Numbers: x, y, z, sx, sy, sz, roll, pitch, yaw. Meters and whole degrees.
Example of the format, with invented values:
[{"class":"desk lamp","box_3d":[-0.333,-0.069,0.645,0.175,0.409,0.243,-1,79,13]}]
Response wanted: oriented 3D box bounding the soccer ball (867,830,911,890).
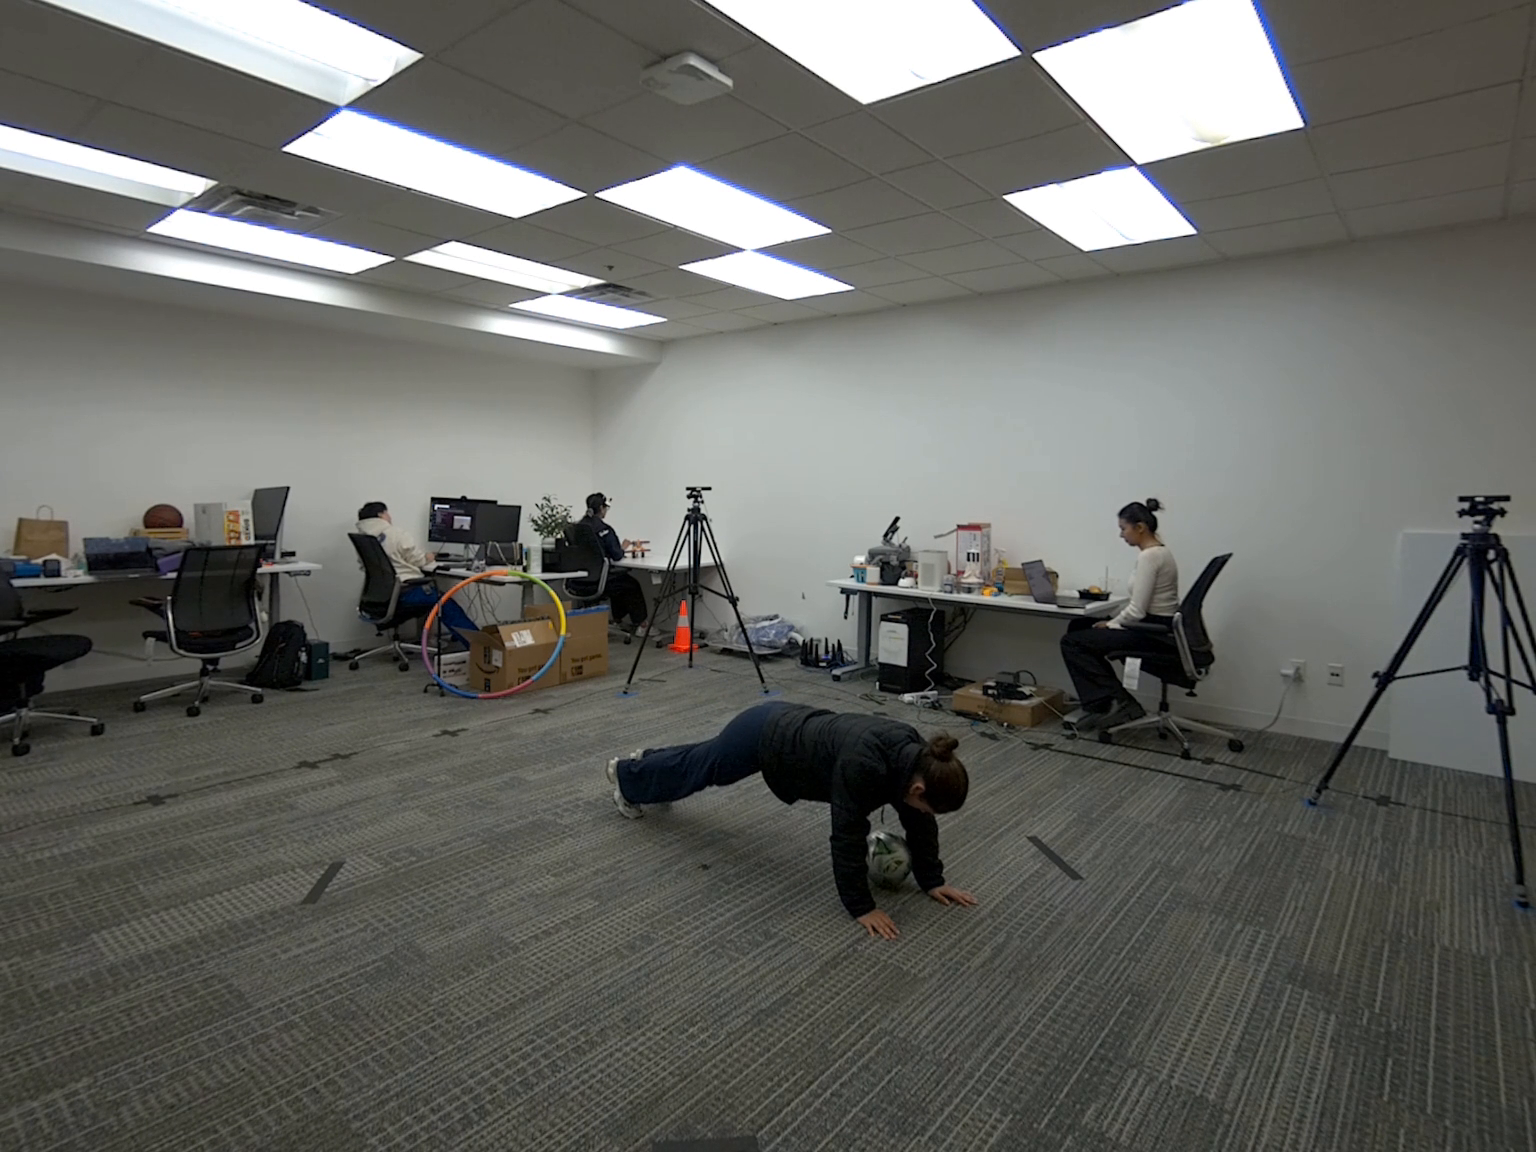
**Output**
[{"class":"soccer ball","box_3d":[0.411,1.000,3.020,0.187,0.187,0.188,1,4,-2]}]
